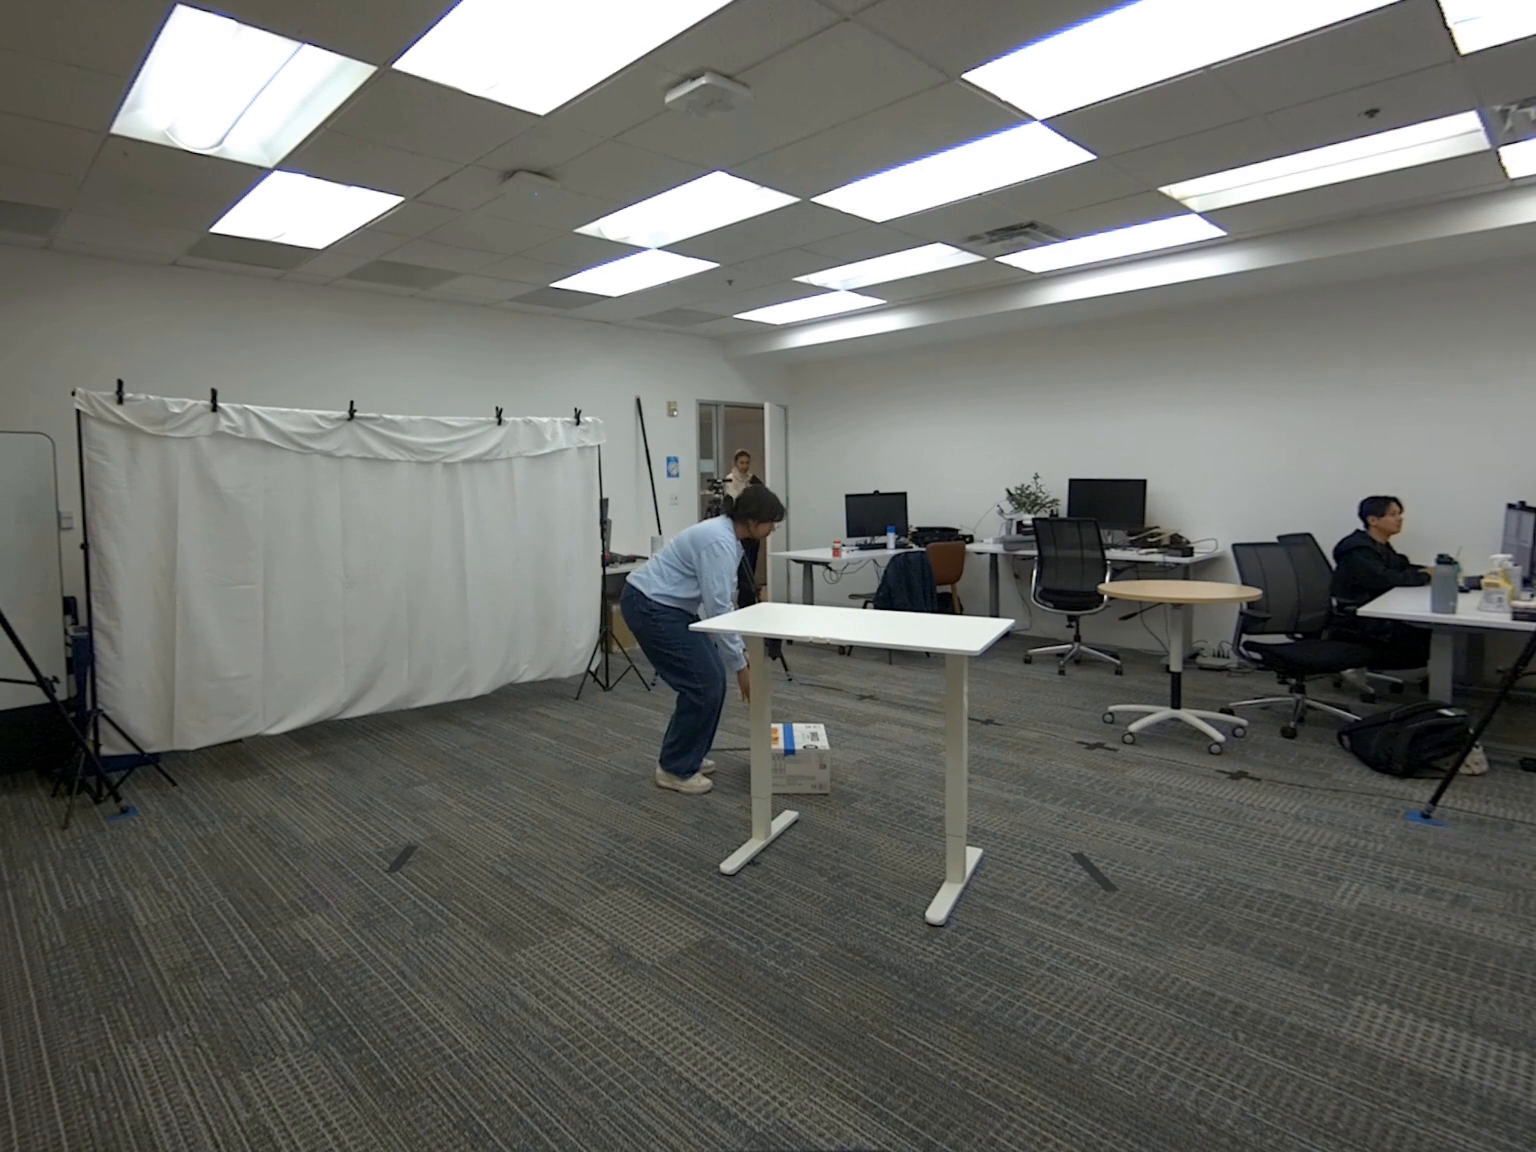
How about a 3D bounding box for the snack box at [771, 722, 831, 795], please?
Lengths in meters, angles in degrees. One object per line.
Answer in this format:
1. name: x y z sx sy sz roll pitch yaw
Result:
1. snack box: 0.097 0.839 3.964 0.341 0.205 0.406 -1 5 1
